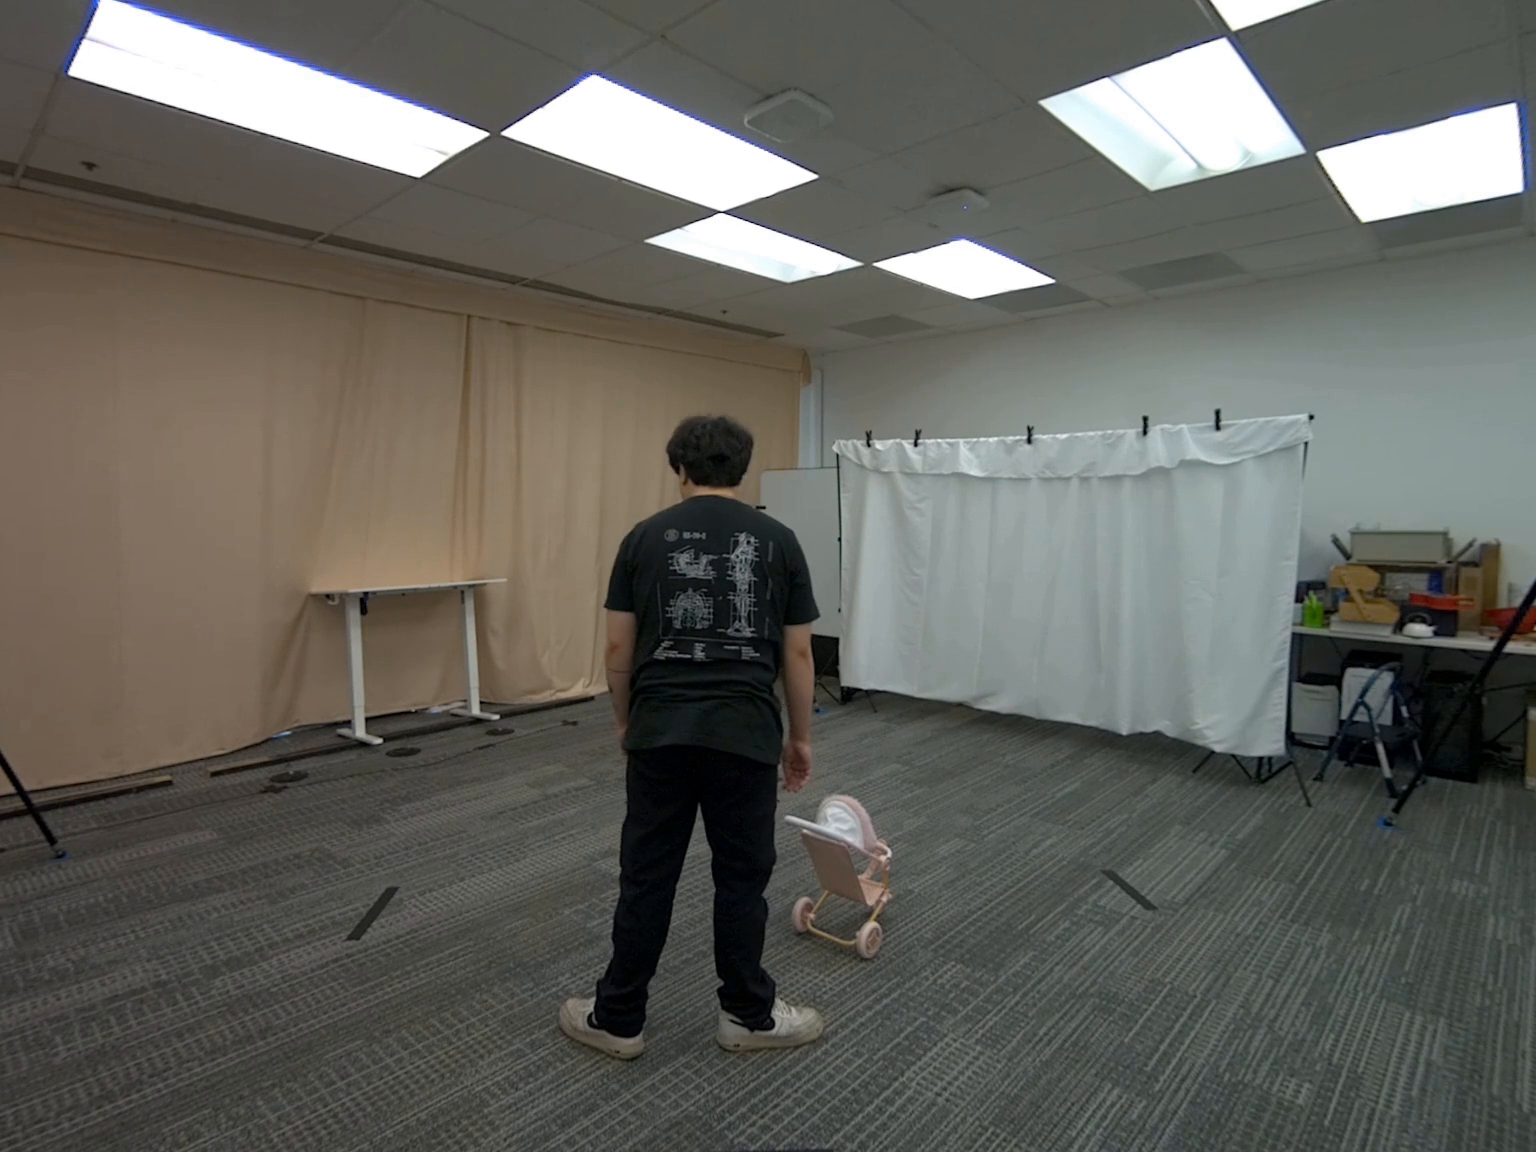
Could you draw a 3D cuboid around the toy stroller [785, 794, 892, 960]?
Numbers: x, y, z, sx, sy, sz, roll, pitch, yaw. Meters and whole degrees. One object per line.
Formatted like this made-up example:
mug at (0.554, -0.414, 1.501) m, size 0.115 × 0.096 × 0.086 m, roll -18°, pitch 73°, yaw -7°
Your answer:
toy stroller at (0.258, 0.939, 2.711) m, size 0.291 × 0.529 × 0.334 m, roll 3°, pitch 20°, yaw 43°
